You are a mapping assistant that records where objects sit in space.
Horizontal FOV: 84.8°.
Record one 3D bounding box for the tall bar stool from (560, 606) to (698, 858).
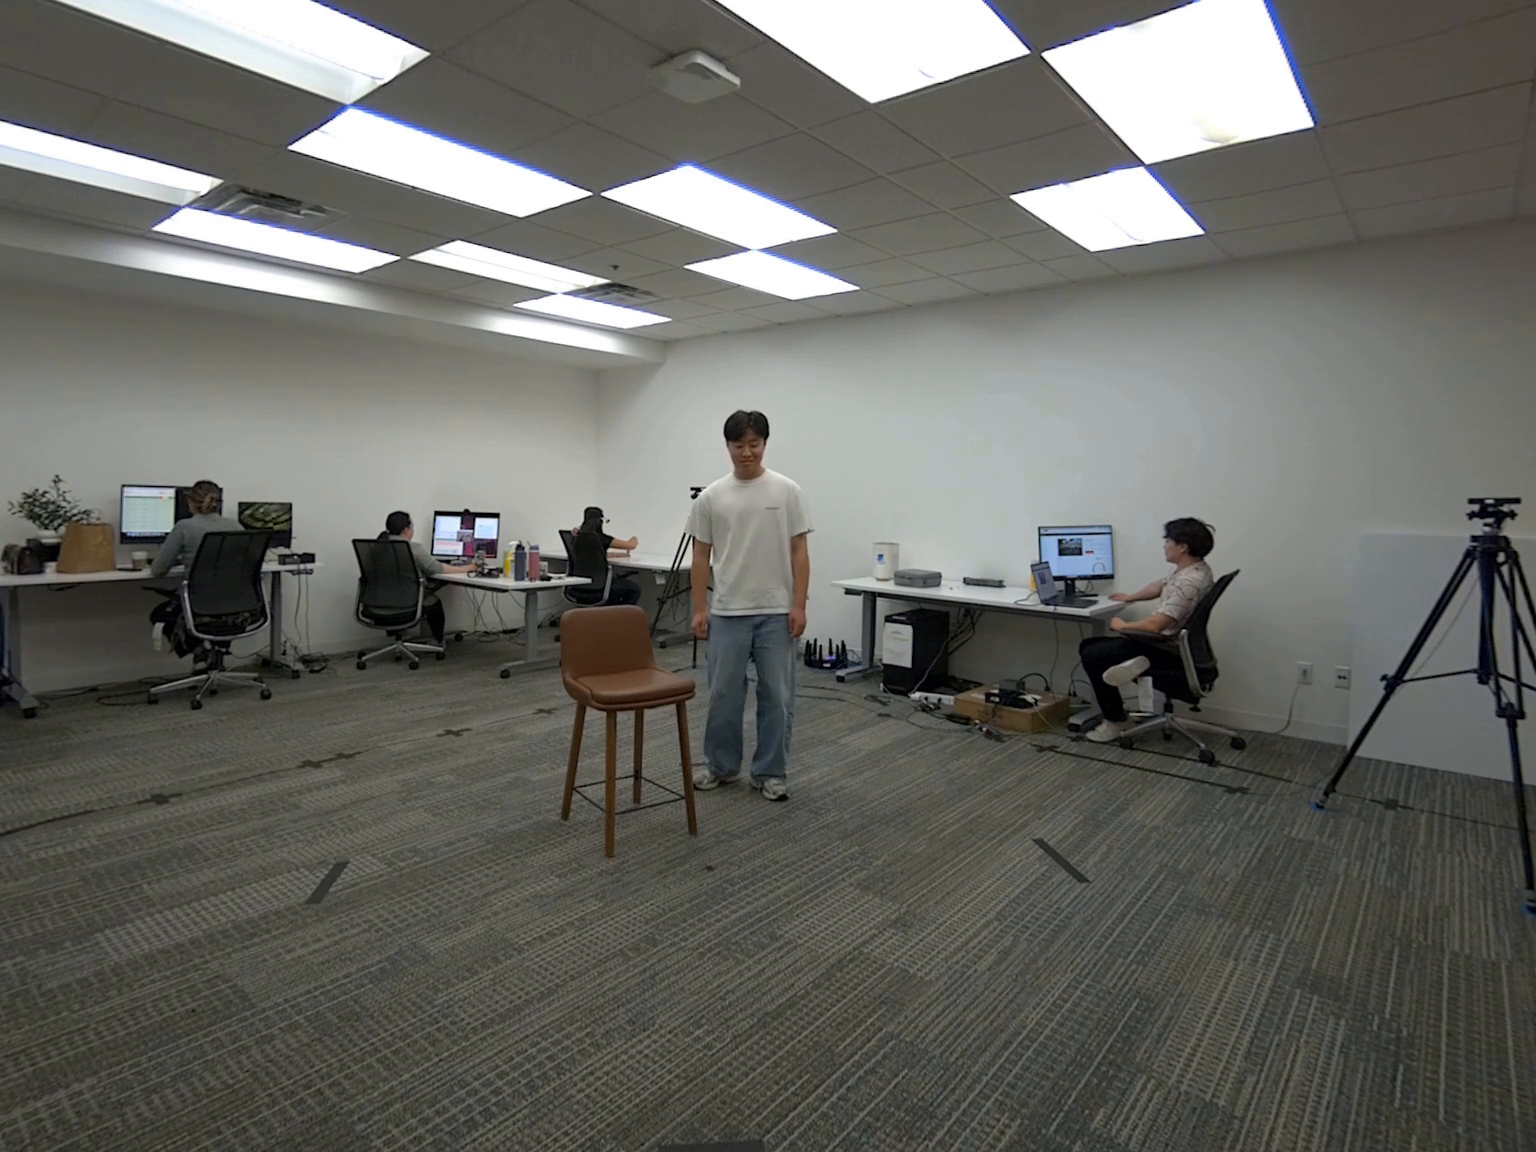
[{"bbox_3d":[-0.590,0.590,3.462,0.443,0.888,0.482,-2,3,-37],"label":"tall bar stool"}]
